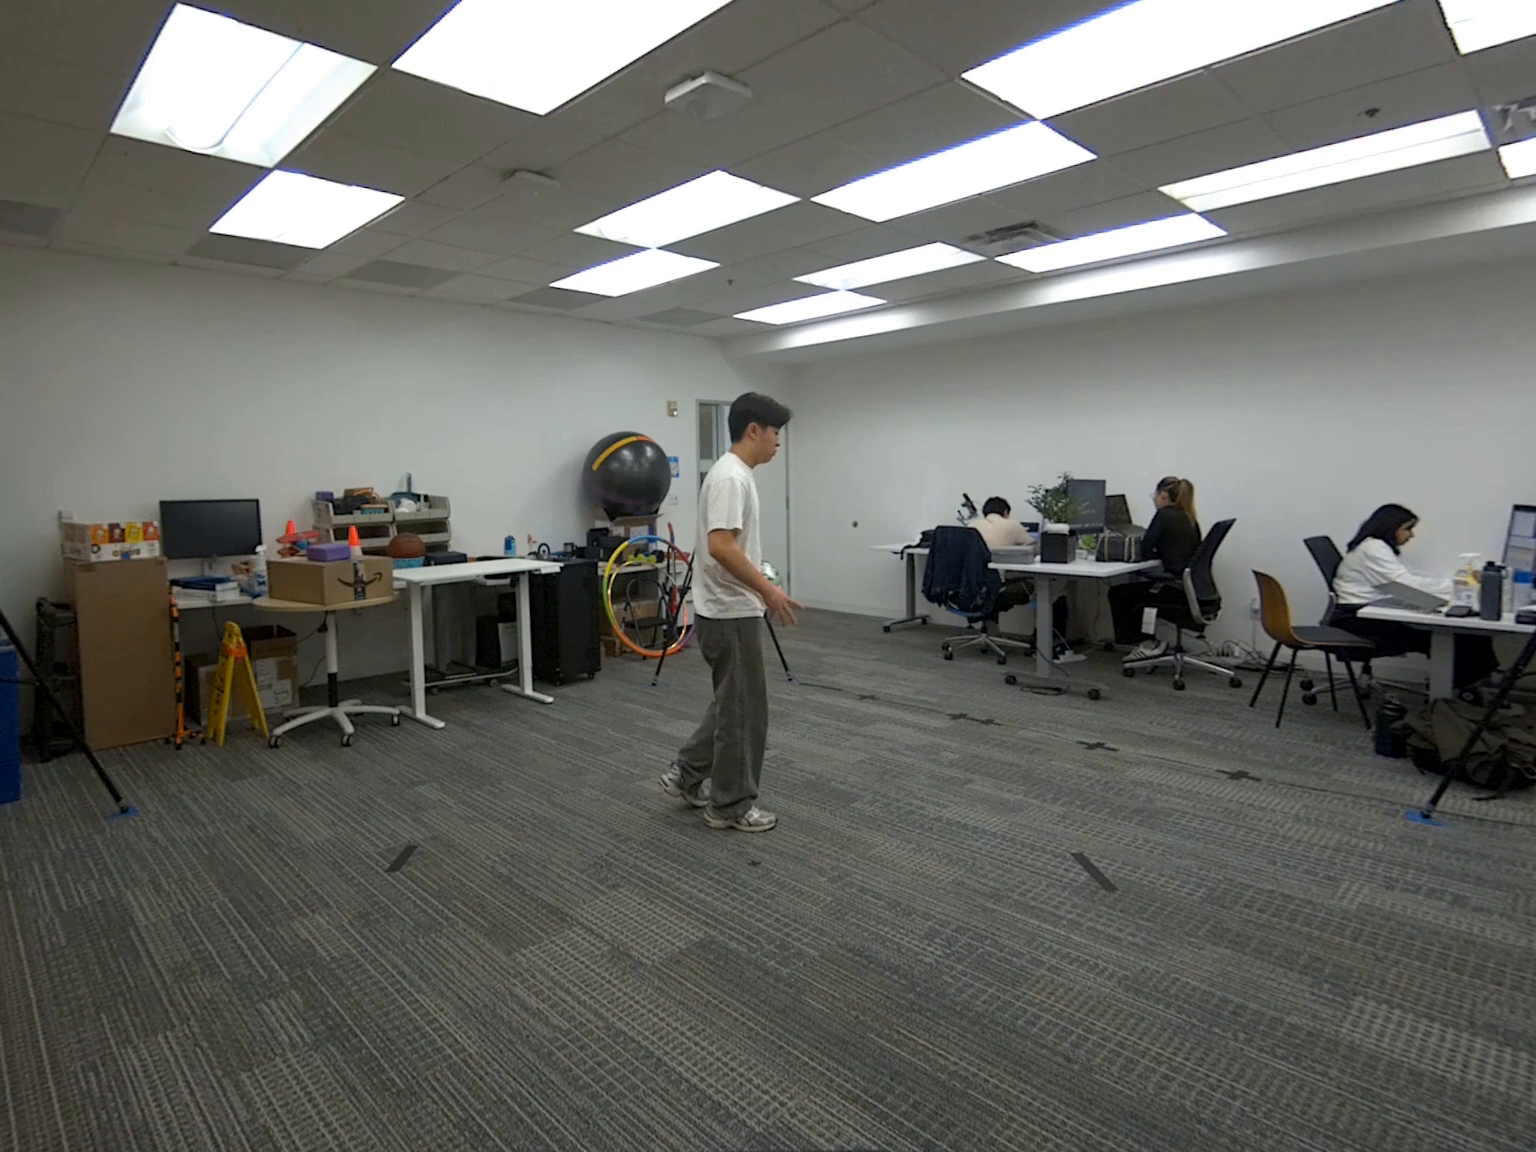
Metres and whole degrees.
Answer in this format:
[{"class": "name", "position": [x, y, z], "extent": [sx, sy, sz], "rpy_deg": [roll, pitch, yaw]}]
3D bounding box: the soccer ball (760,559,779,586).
[{"class": "soccer ball", "position": [-0.061, 0.031, 3.720], "extent": [0.187, 0.187, 0.188], "rpy_deg": [-1, 5, -2]}]
